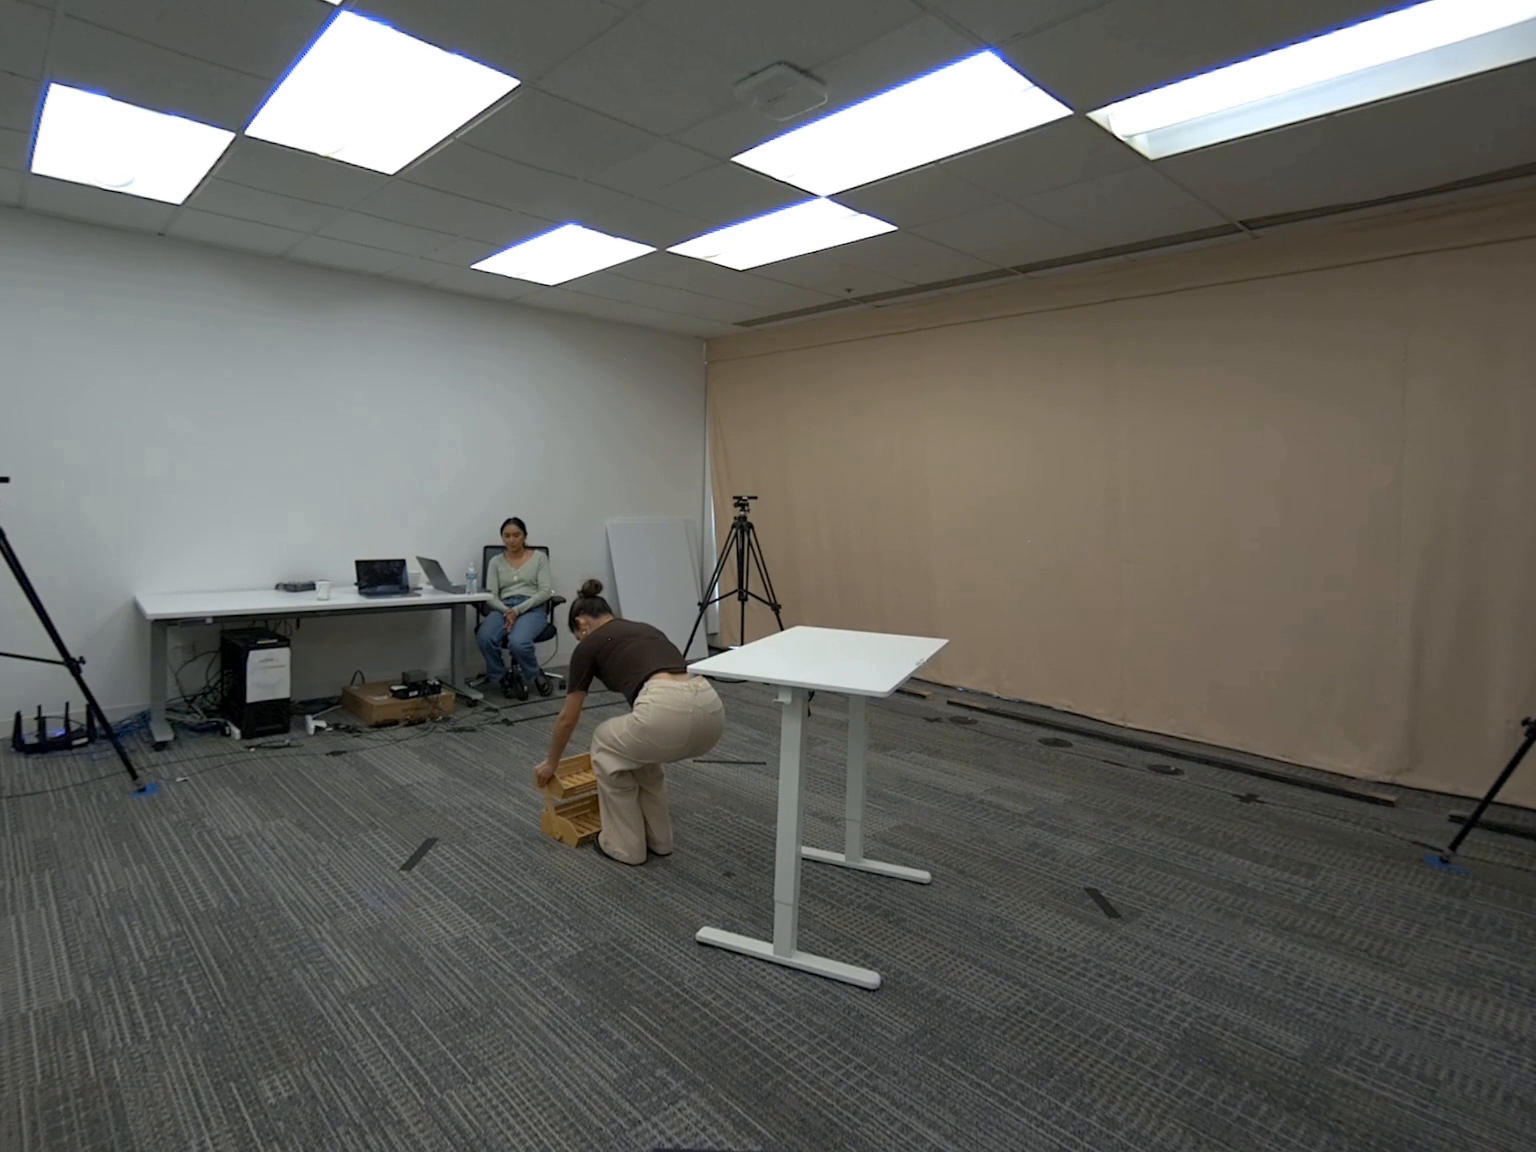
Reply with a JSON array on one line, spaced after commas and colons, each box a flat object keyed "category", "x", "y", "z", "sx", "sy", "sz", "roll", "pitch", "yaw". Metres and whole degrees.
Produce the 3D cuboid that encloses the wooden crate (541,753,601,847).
[{"category": "wooden crate", "x": -0.762, "y": 0.915, "z": 3.500, "sx": 0.309, "sy": 0.273, "sz": 0.317, "roll": 4, "pitch": 5, "yaw": 40}]
